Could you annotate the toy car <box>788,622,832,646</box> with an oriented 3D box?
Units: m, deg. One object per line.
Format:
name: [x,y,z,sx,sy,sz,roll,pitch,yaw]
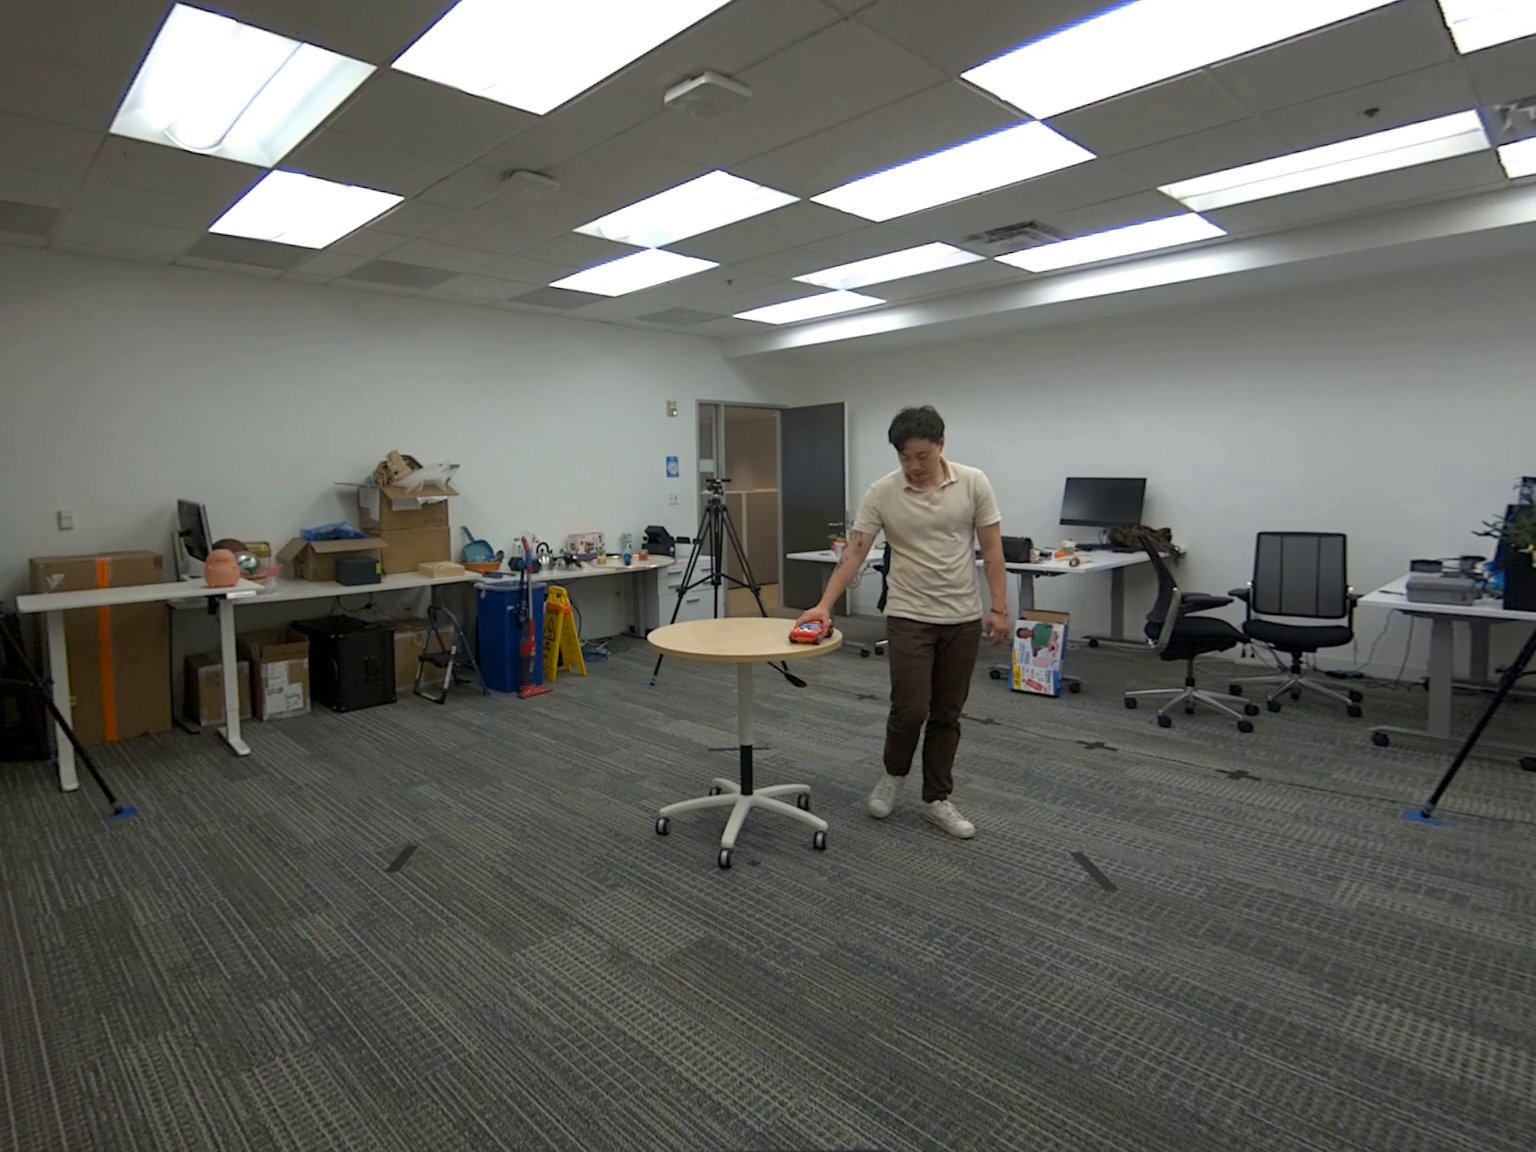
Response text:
toy car: [0.177,0.210,3.256,0.133,0.082,0.253,2,19,20]
